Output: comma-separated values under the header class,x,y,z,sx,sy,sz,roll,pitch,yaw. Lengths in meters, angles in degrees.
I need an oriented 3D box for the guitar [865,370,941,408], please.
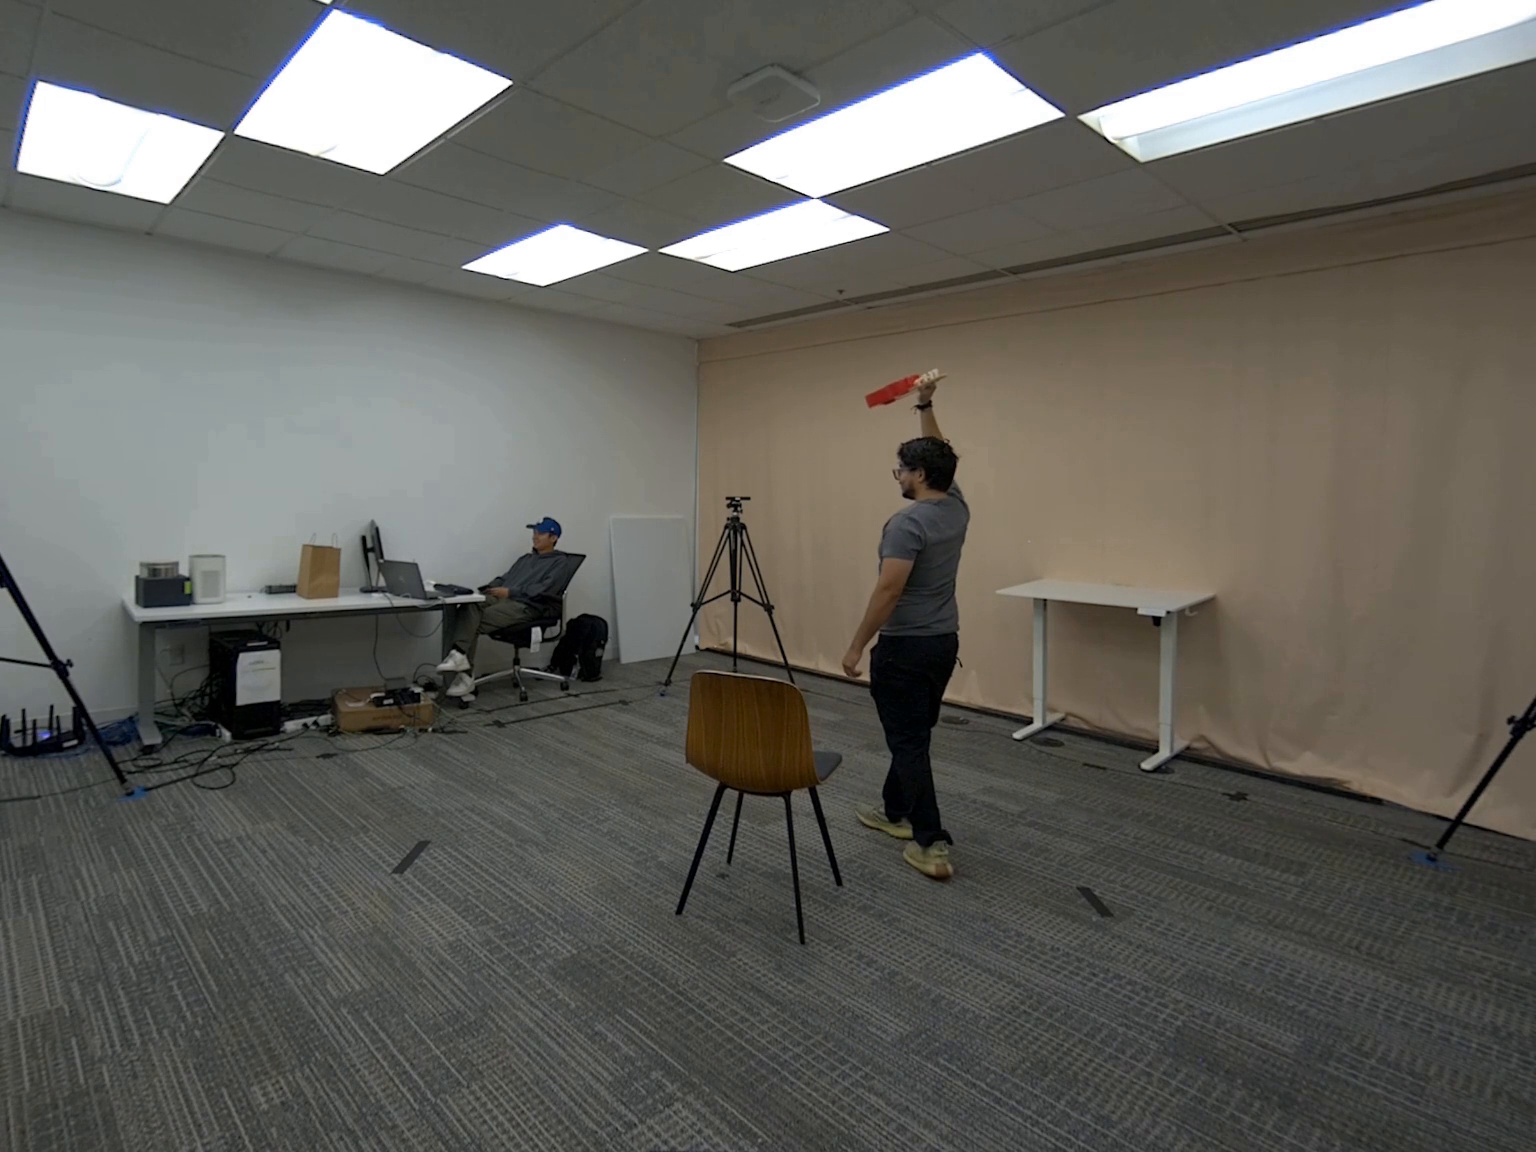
class,x,y,z,sx,sy,sz,roll,pitch,yaw
guitar,0.604,-0.807,3.506,0.191,0.070,0.505,-23,5,-27
